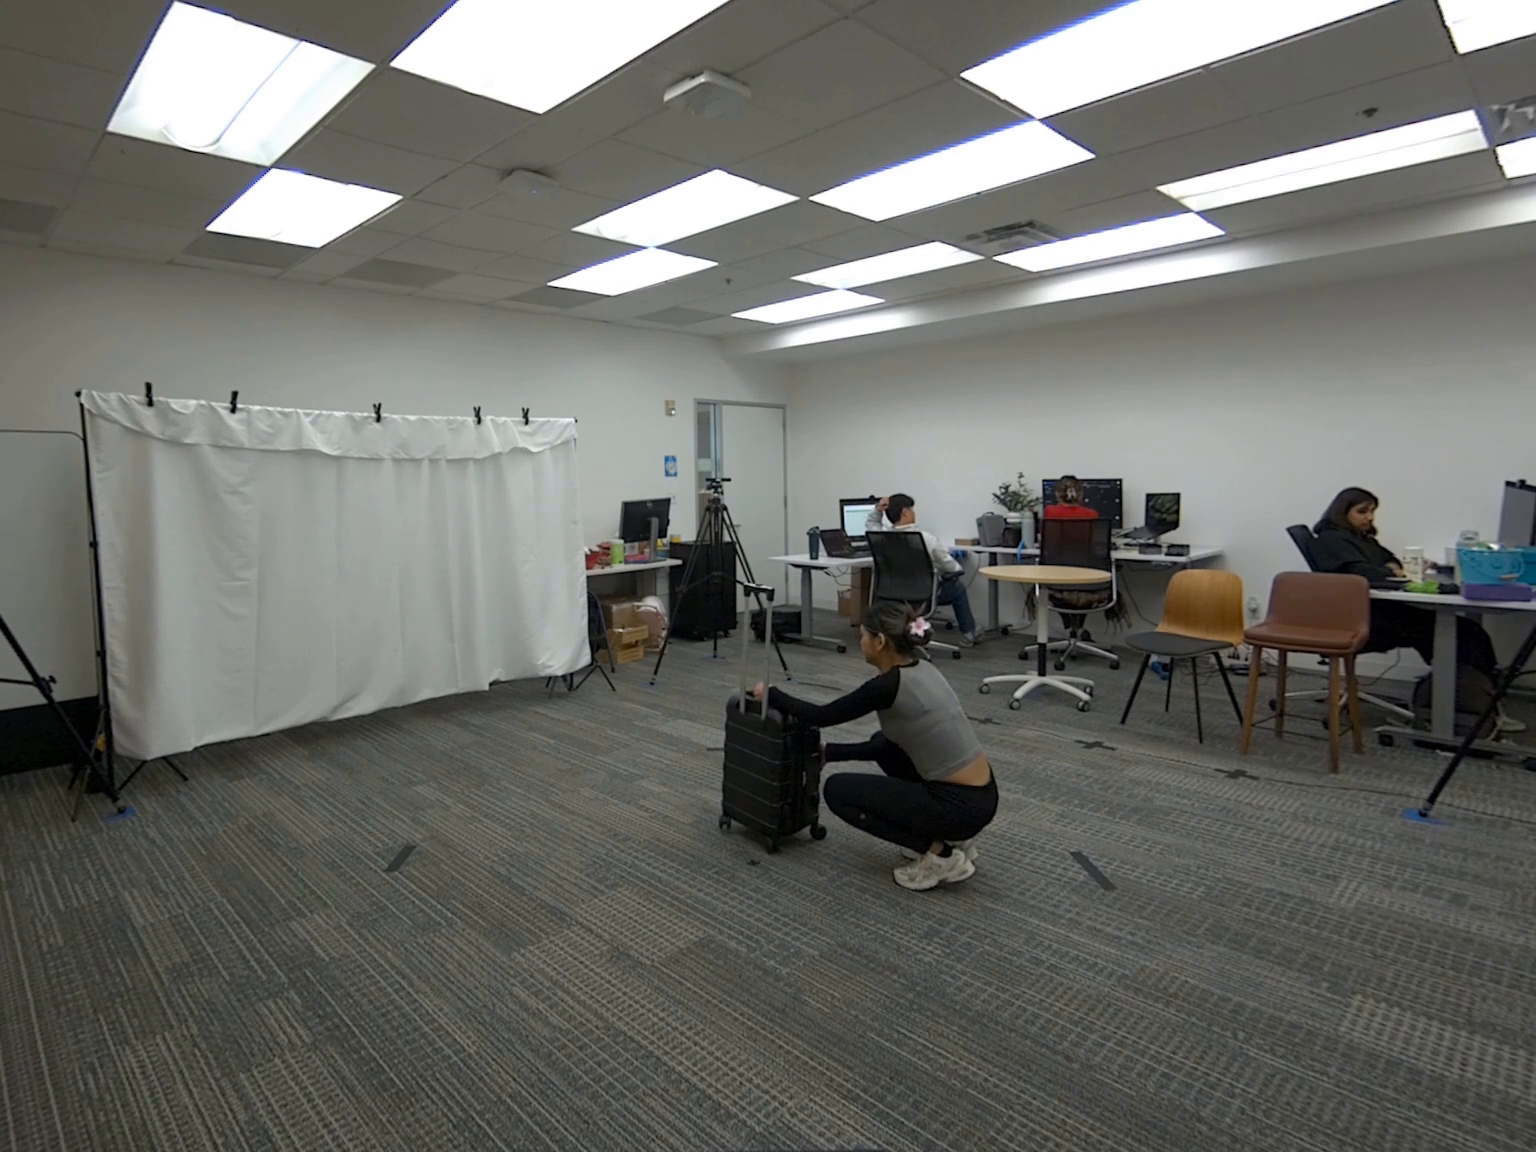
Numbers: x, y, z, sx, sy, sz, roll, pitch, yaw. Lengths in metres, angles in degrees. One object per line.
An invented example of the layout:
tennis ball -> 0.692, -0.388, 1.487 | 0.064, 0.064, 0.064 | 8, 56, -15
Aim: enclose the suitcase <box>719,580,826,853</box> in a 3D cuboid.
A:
suitcase -> 0.022, 0.528, 3.336 | 0.250, 0.976, 0.396 | 1, 4, -38
